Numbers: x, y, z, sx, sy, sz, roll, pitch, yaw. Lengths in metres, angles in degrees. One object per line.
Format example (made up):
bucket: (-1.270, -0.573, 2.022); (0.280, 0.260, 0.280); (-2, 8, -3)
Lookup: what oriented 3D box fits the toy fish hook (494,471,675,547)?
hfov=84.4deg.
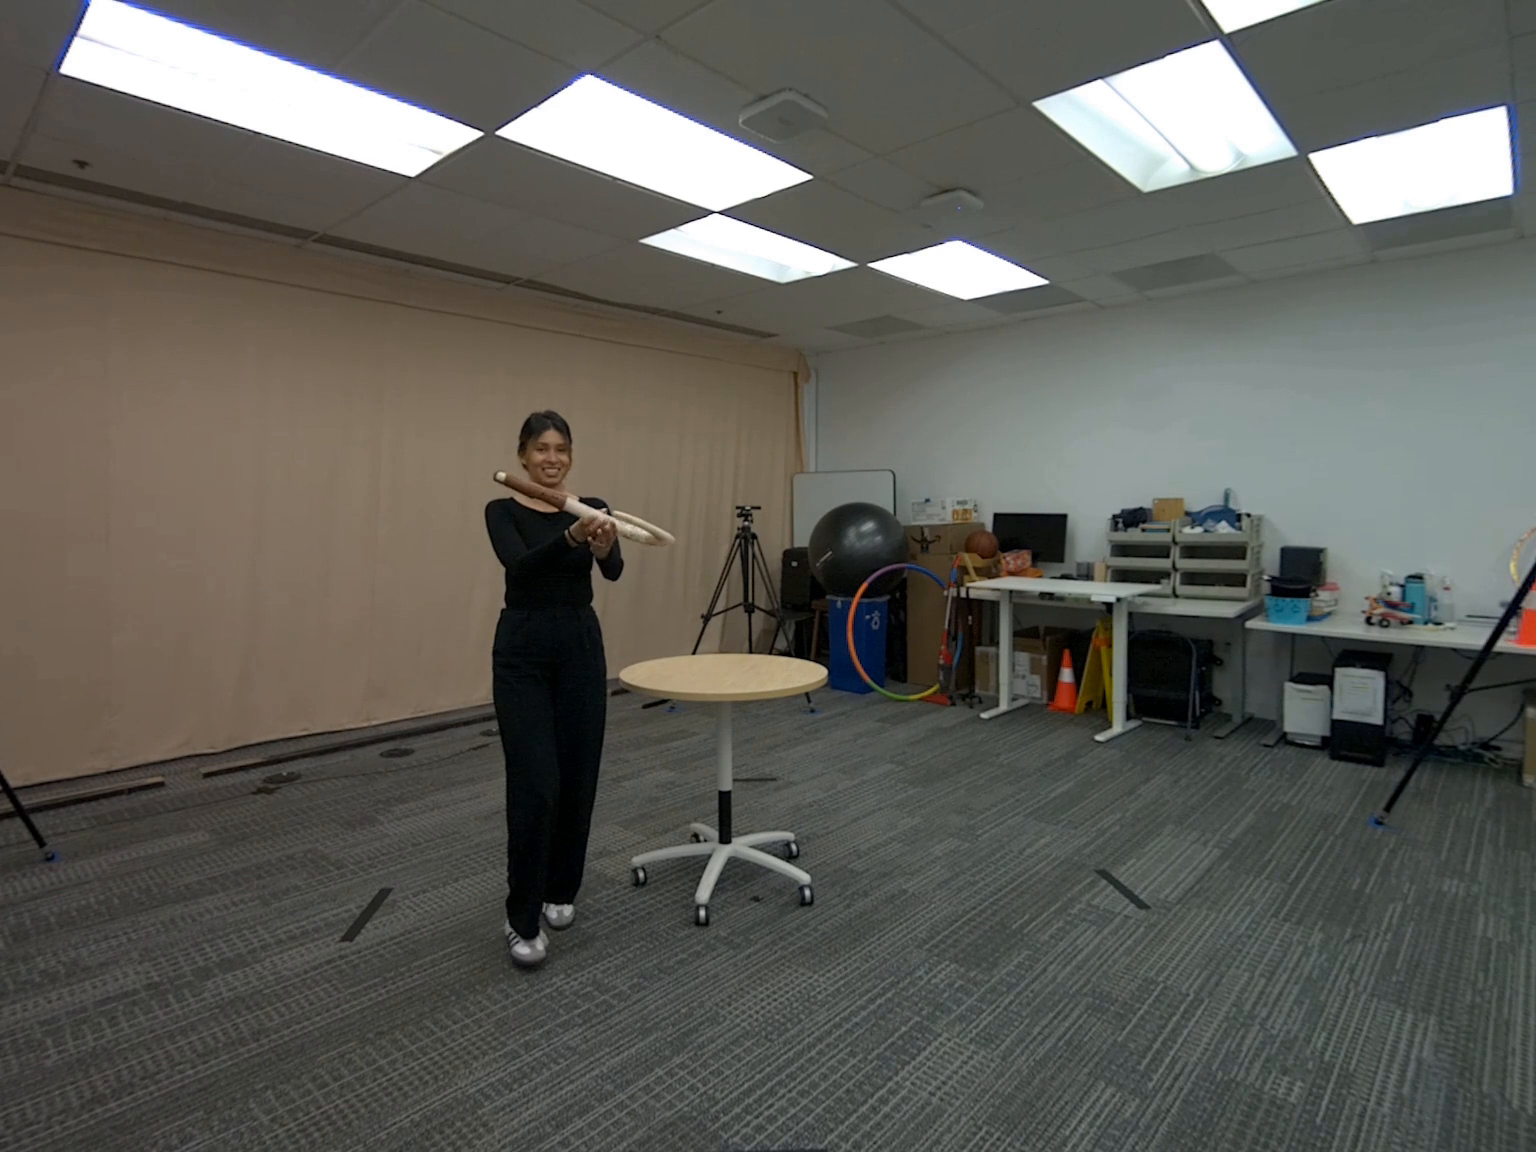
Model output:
toy fish hook: (-0.485, -0.185, 2.253); (0.495, 0.048, 0.229); (22, -15, -19)
